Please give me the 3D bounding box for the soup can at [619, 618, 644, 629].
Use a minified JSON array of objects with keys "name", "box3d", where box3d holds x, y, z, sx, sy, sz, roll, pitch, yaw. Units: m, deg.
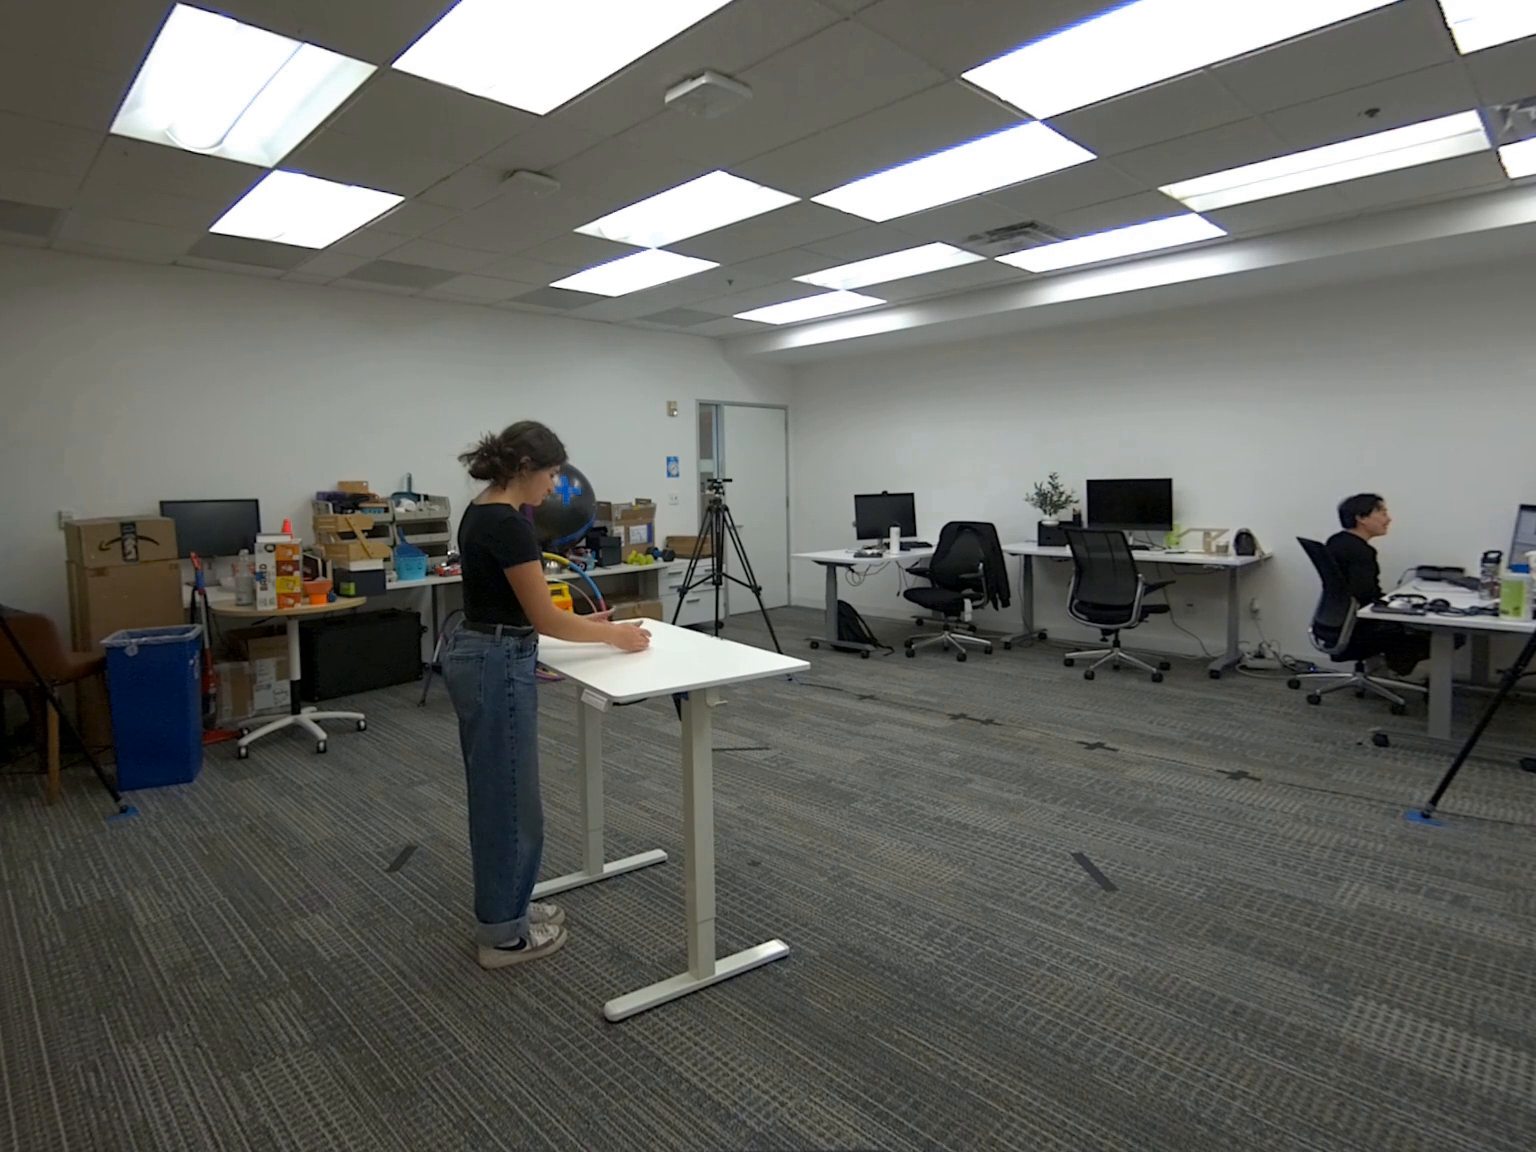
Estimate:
[{"name":"soup can","box3d":[-0.449,0.189,2.683,0.066,0.067,0.123,-2,6,-12]}]
